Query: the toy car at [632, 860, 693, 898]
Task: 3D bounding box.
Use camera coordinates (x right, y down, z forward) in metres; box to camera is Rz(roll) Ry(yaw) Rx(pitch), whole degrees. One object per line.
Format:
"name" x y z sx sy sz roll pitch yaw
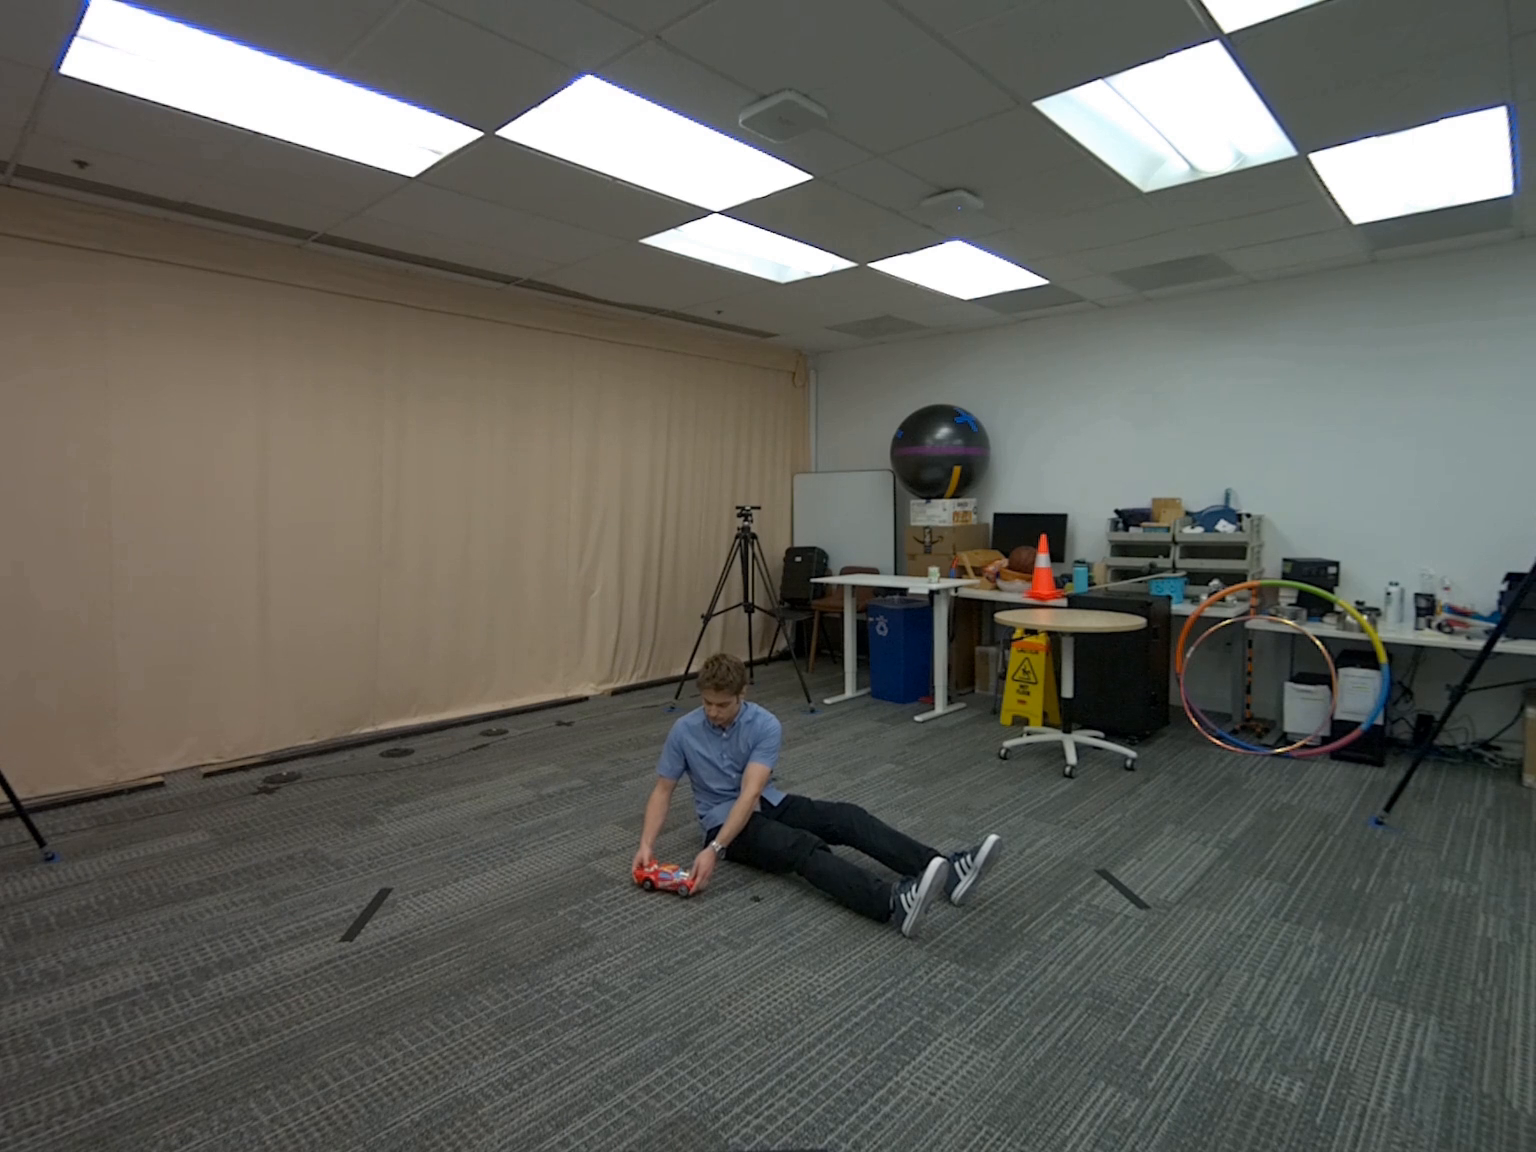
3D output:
"toy car" -0.360 1.101 3.063 0.260 0.083 0.128 6 7 20
